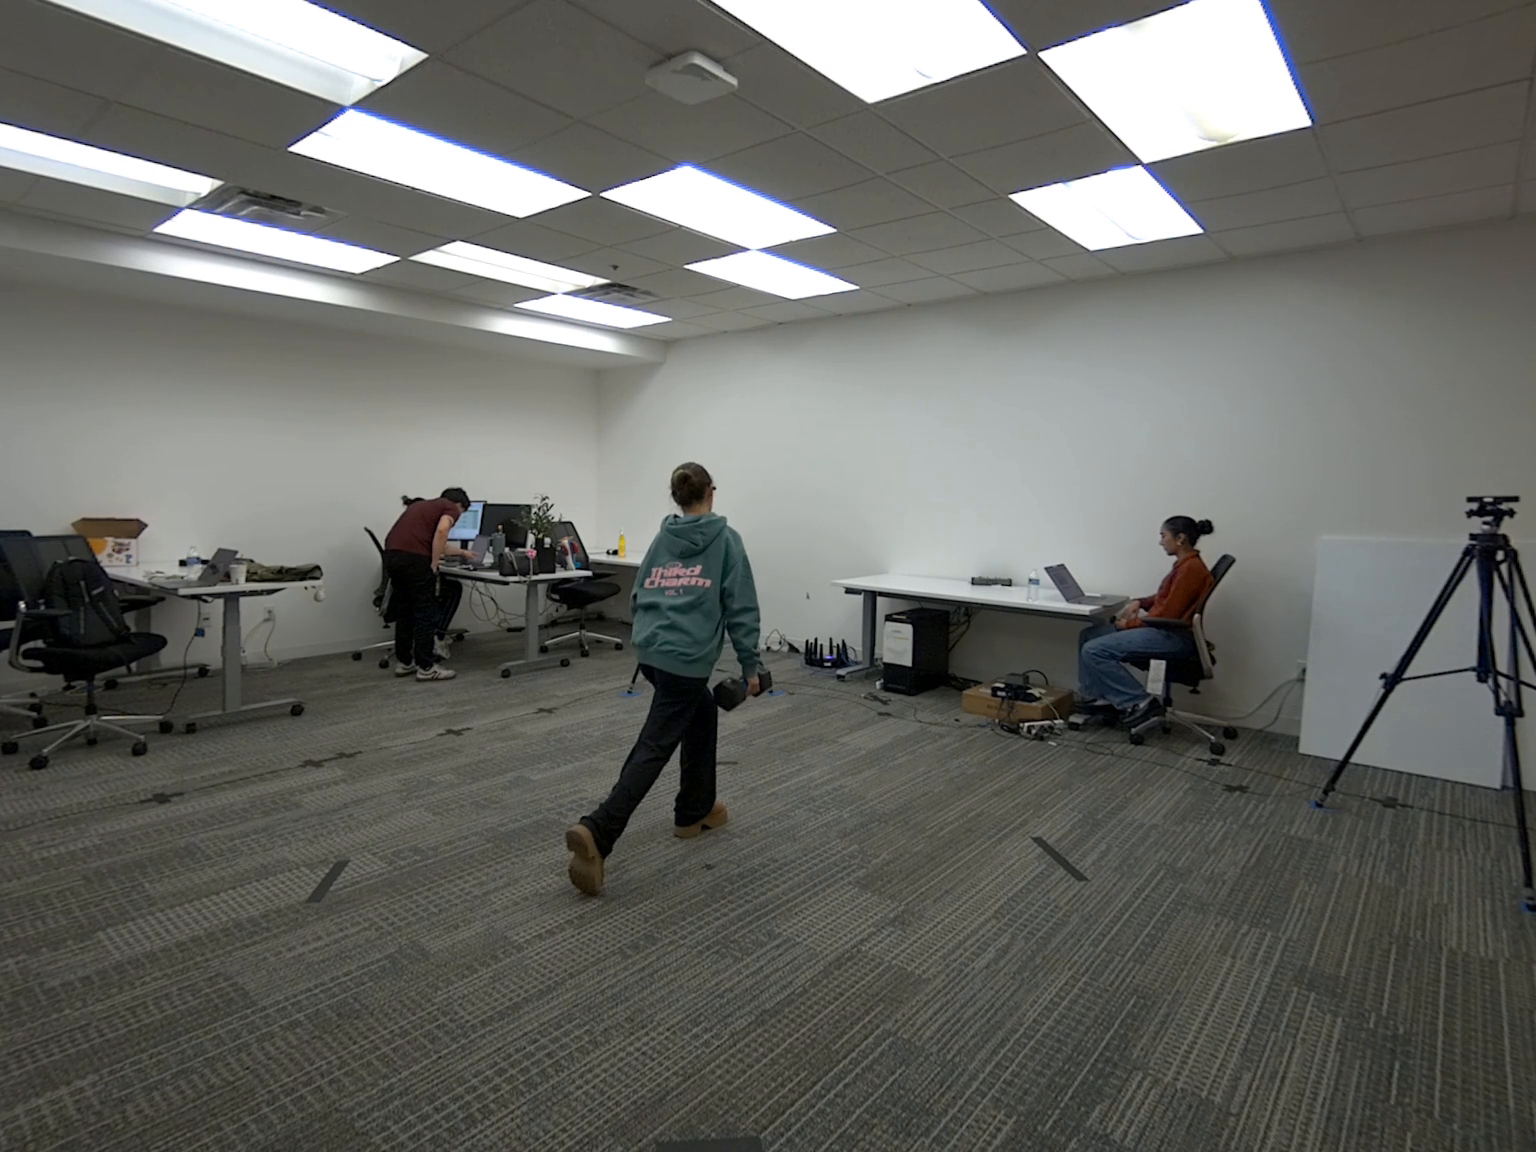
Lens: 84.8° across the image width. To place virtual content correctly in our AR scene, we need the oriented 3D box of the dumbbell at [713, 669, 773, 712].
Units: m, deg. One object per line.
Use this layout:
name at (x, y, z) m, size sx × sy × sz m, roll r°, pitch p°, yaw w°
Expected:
dumbbell at (-0.103, 0.436, 3.310) m, size 0.123 × 0.111 × 0.287 m, roll -42°, pitch -13°, yaw 29°
